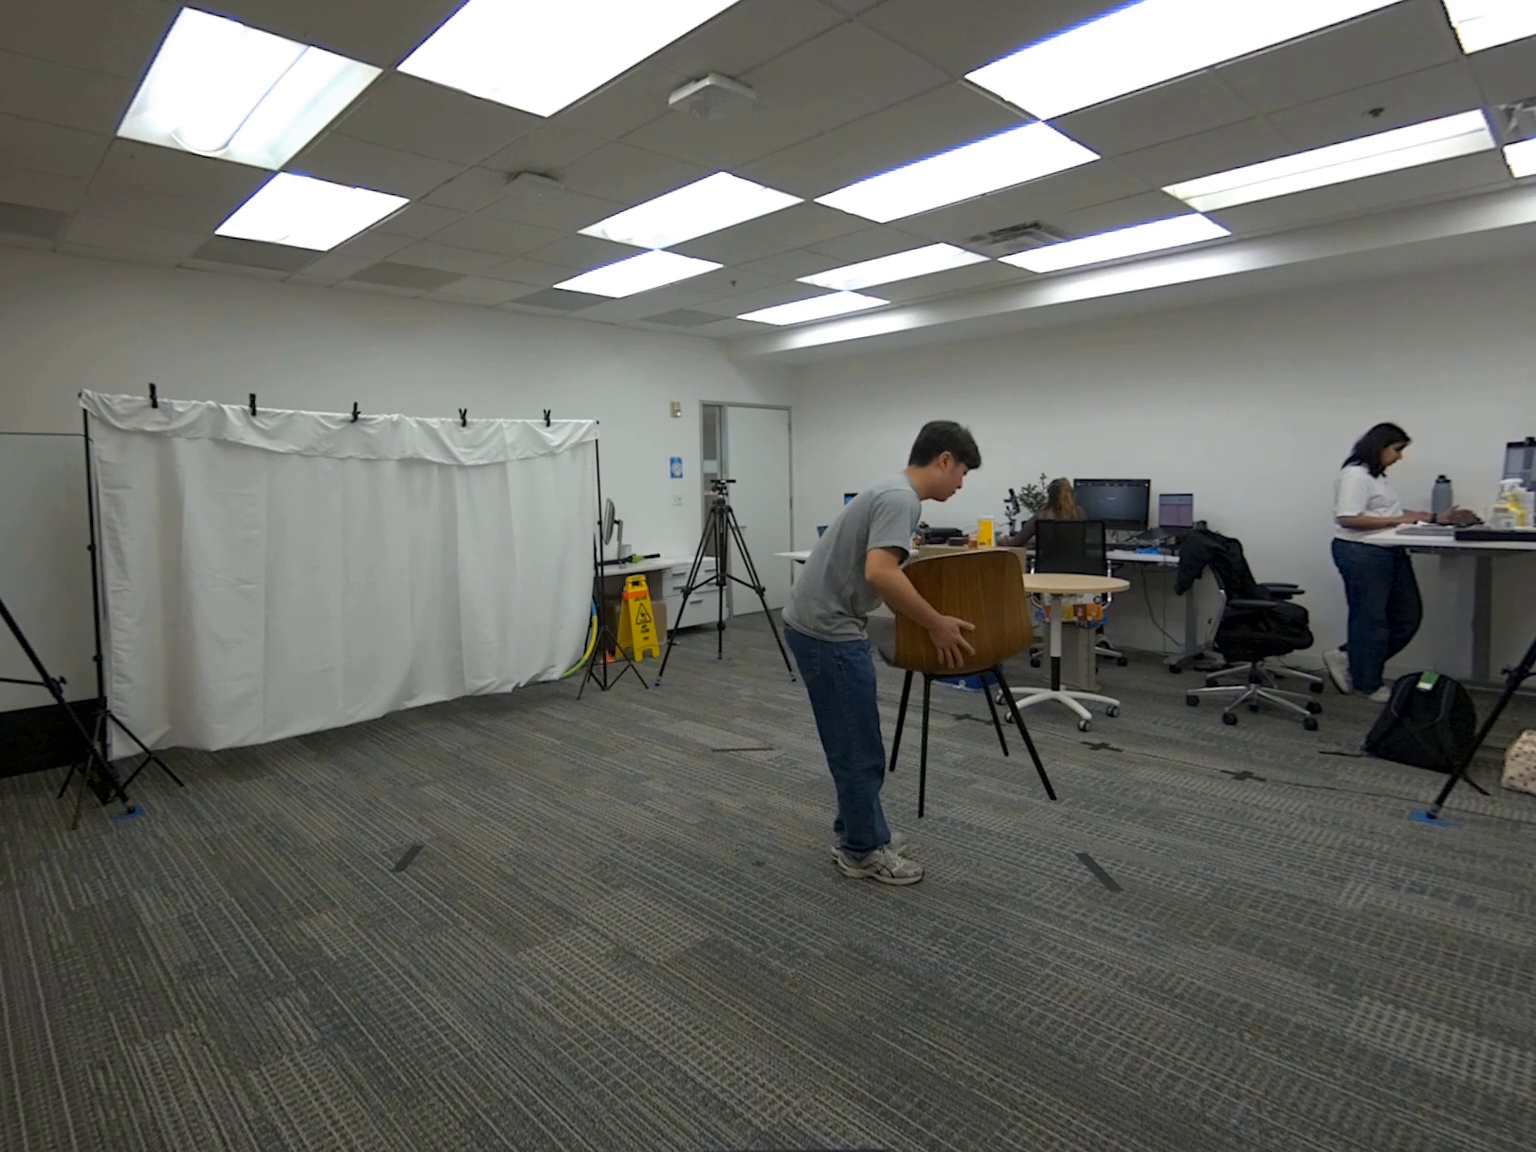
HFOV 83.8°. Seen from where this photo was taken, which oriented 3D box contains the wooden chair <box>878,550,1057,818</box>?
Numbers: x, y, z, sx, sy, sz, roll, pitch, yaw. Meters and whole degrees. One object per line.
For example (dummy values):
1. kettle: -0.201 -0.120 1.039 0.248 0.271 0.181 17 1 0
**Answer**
1. wooden chair: 0.637 0.310 2.955 0.477 0.870 0.529 -8 8 -3
